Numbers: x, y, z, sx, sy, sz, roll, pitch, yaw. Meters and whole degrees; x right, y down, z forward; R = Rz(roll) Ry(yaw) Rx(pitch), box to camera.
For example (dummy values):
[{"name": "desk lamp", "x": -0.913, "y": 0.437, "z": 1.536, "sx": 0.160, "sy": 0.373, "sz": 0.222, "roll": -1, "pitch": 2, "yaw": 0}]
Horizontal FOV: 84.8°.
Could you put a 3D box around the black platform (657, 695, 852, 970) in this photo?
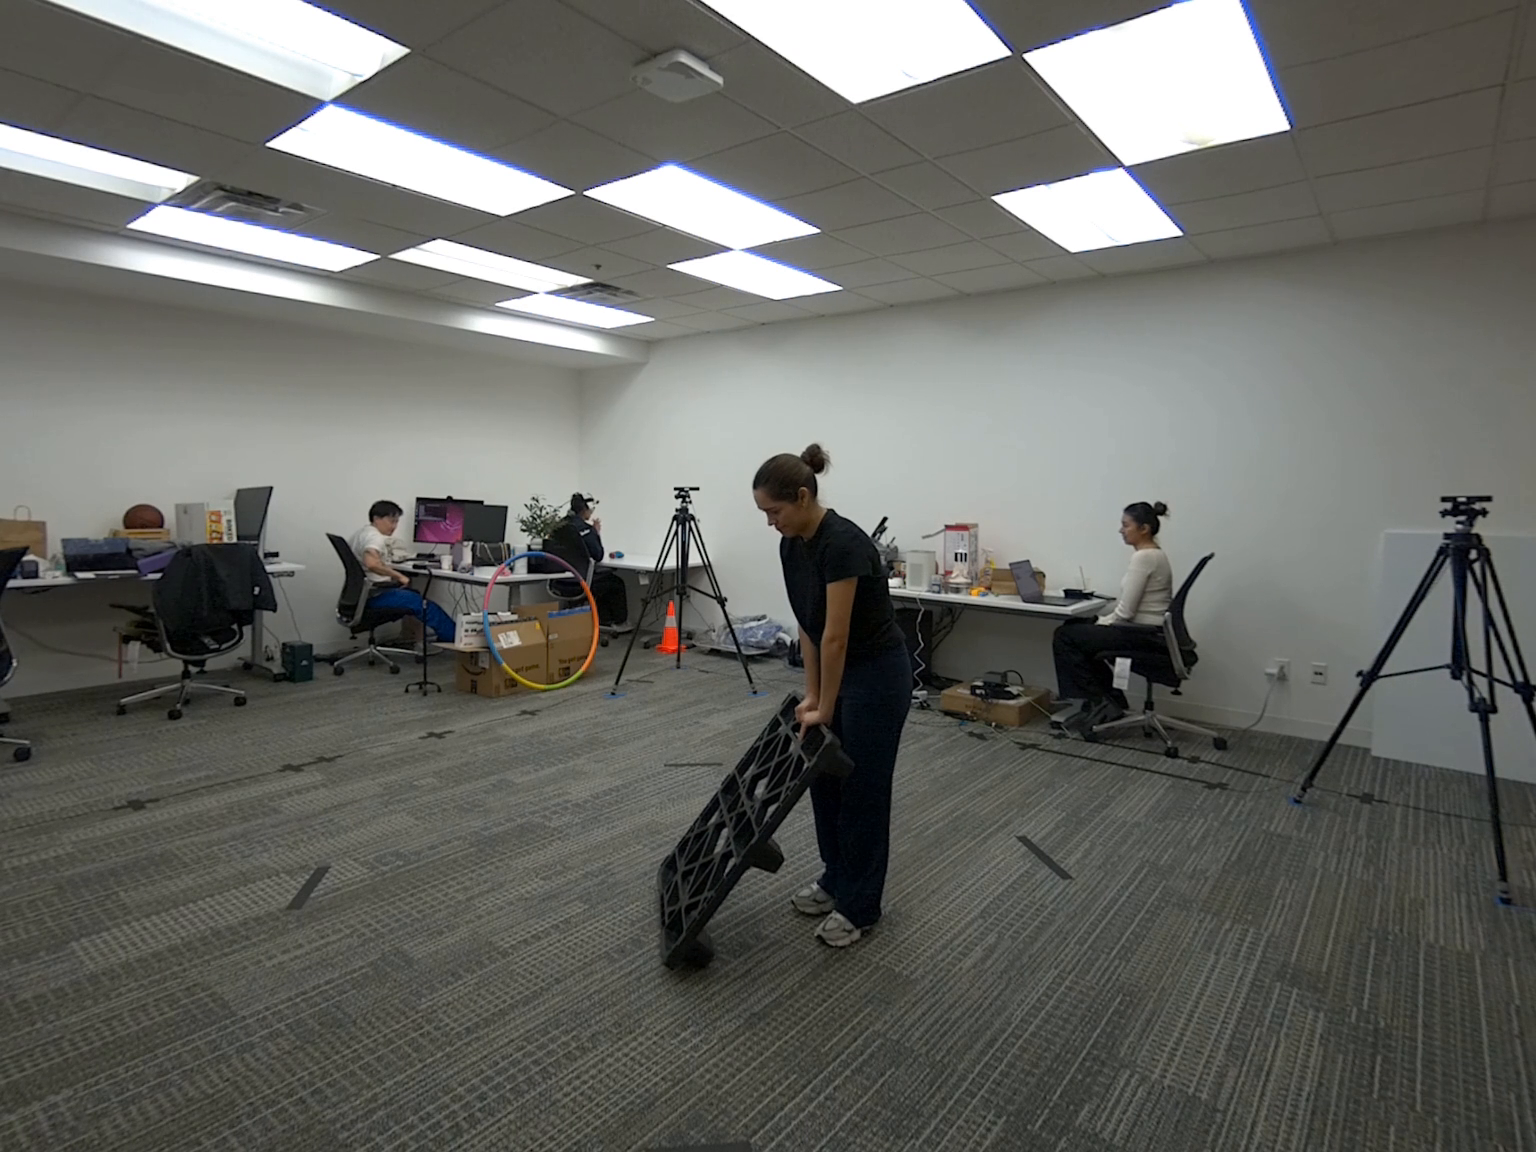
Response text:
[{"name": "black platform", "x": -0.045, "y": 0.779, "z": 2.697, "sx": 0.142, "sy": 0.805, "sz": 0.611, "roll": 36, "pitch": 0, "yaw": -9}]
